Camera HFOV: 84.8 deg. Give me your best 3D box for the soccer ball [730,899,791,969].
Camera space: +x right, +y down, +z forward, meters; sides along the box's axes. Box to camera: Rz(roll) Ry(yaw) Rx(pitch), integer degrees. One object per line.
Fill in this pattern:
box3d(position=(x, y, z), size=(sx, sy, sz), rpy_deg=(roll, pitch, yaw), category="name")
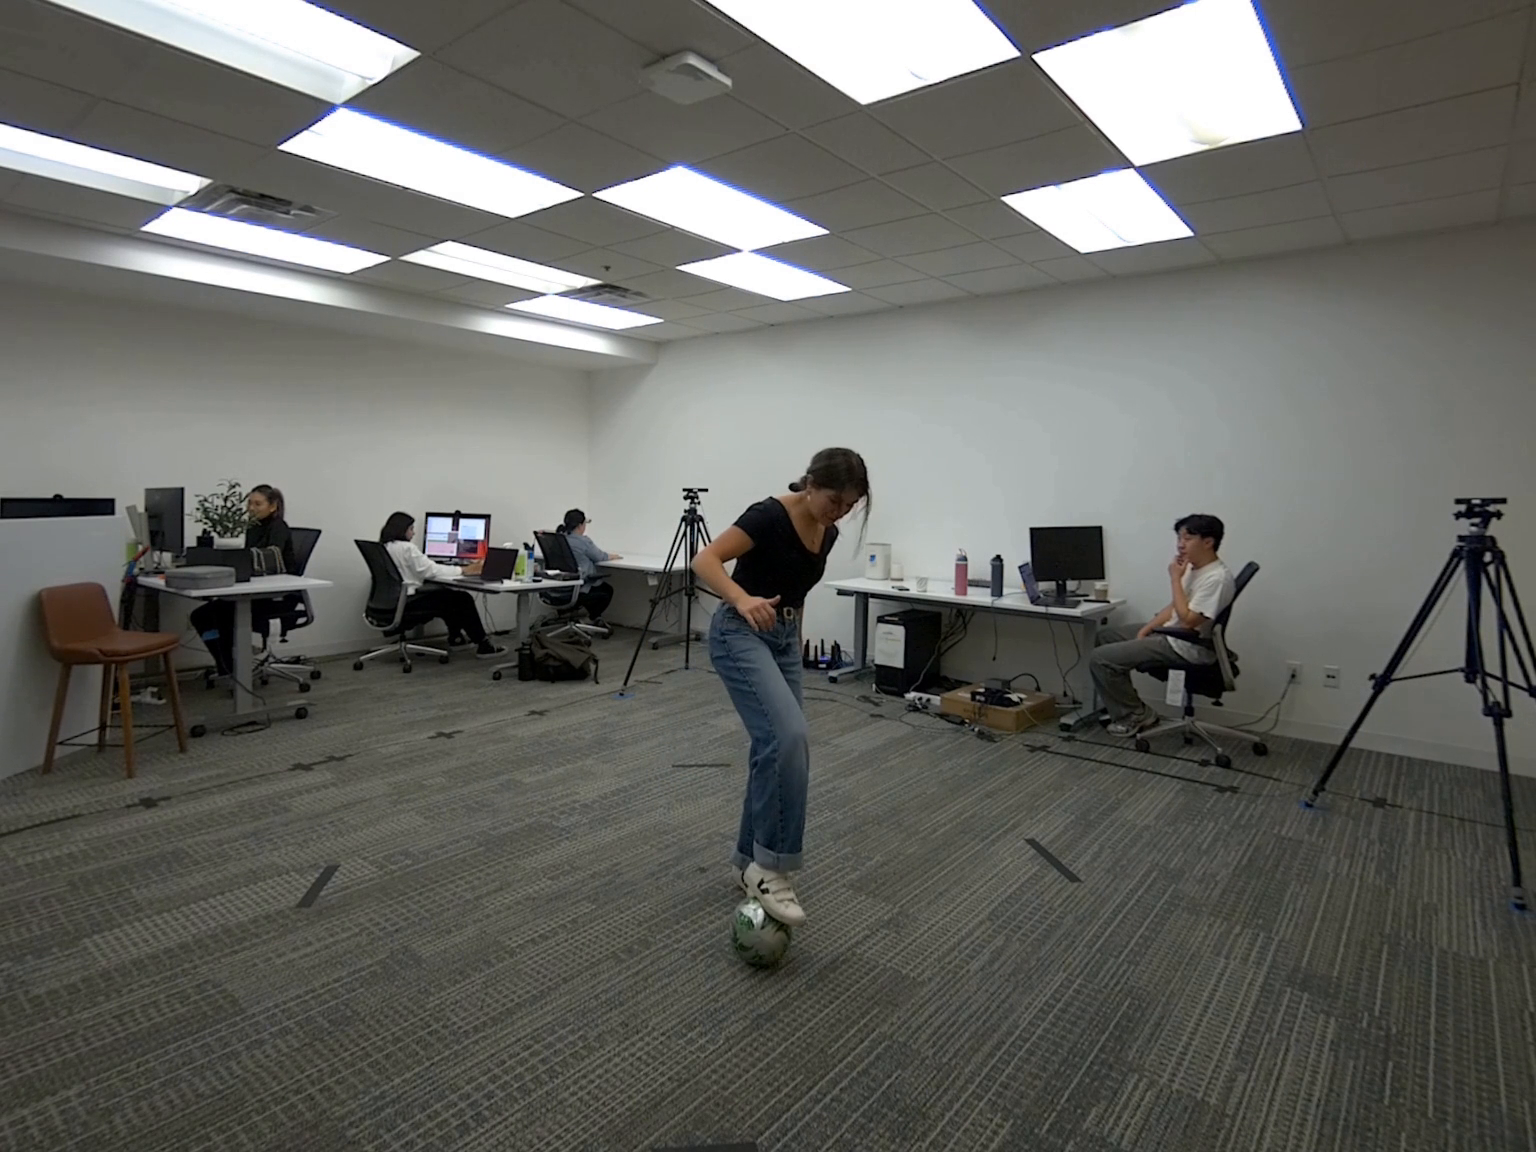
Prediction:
box3d(position=(-0.021, 1.040, 2.507), size=(0.187, 0.187, 0.188), rpy_deg=(1, 4, -2), category="soccer ball")
